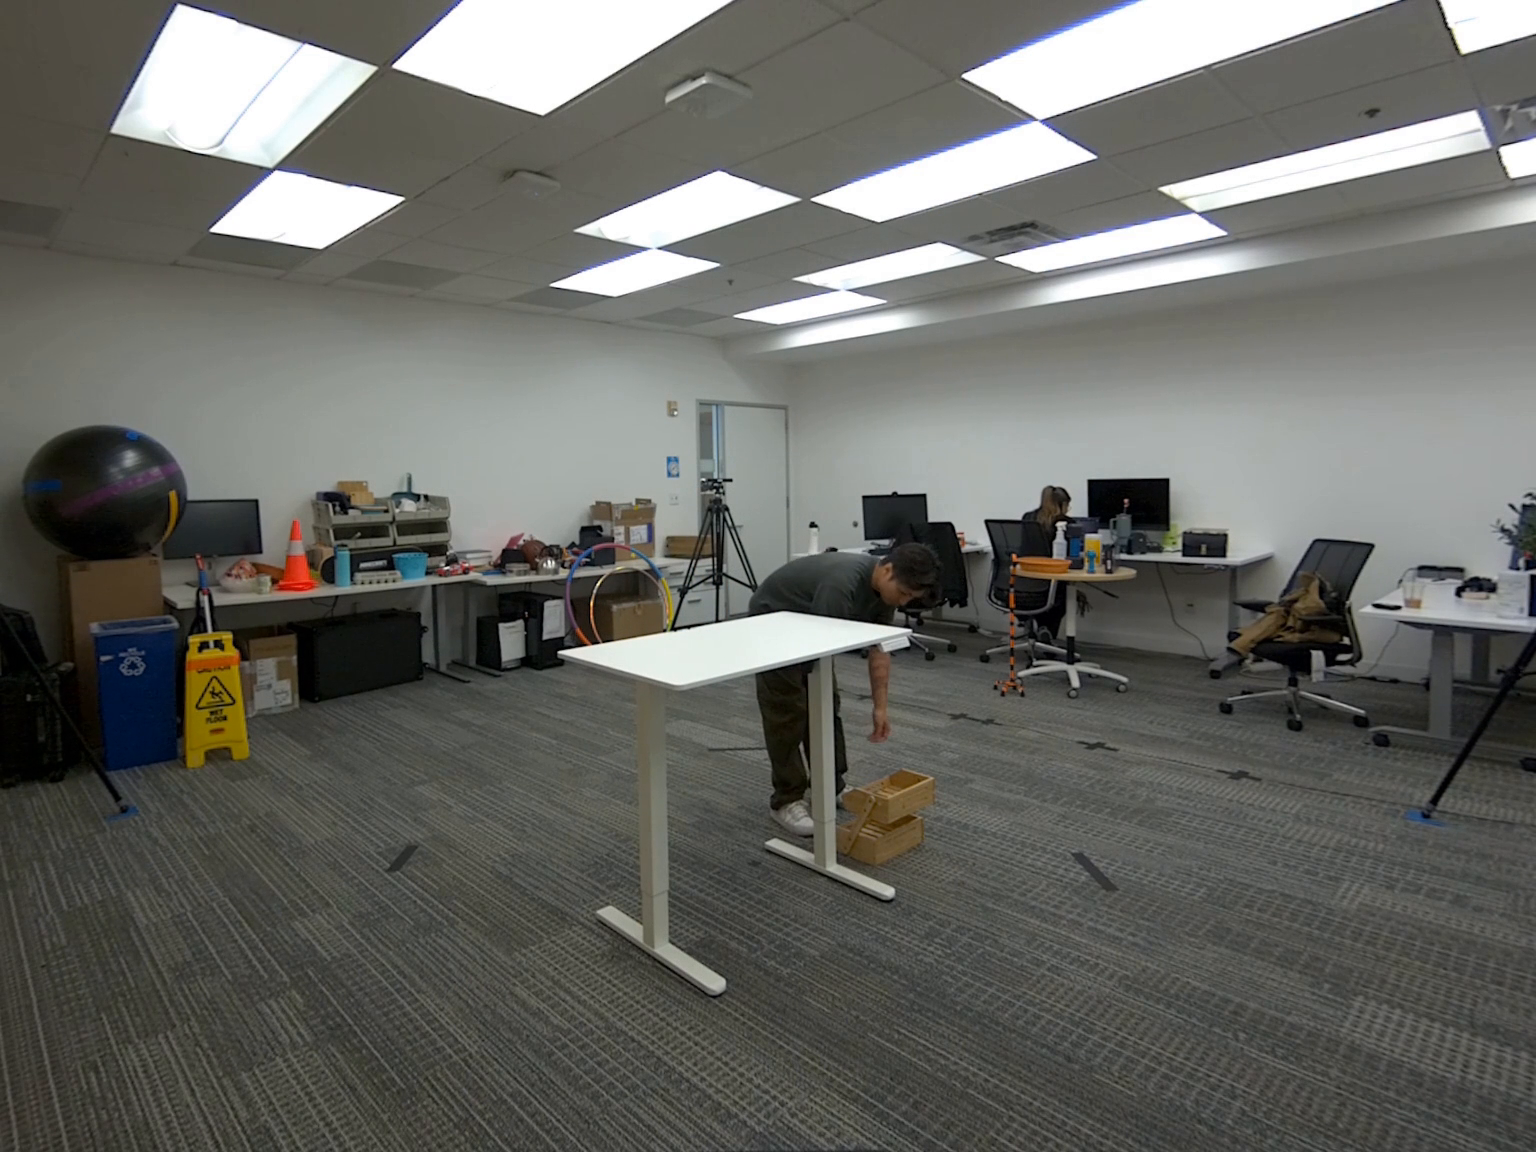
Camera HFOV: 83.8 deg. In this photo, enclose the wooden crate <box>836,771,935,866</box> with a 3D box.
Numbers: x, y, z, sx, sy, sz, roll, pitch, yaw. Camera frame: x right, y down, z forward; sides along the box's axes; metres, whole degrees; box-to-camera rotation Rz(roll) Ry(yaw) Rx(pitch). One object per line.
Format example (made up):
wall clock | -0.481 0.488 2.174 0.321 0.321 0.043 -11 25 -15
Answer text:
wooden crate | 0.419 0.888 3.232 0.316 0.272 0.311 -6 7 -44
